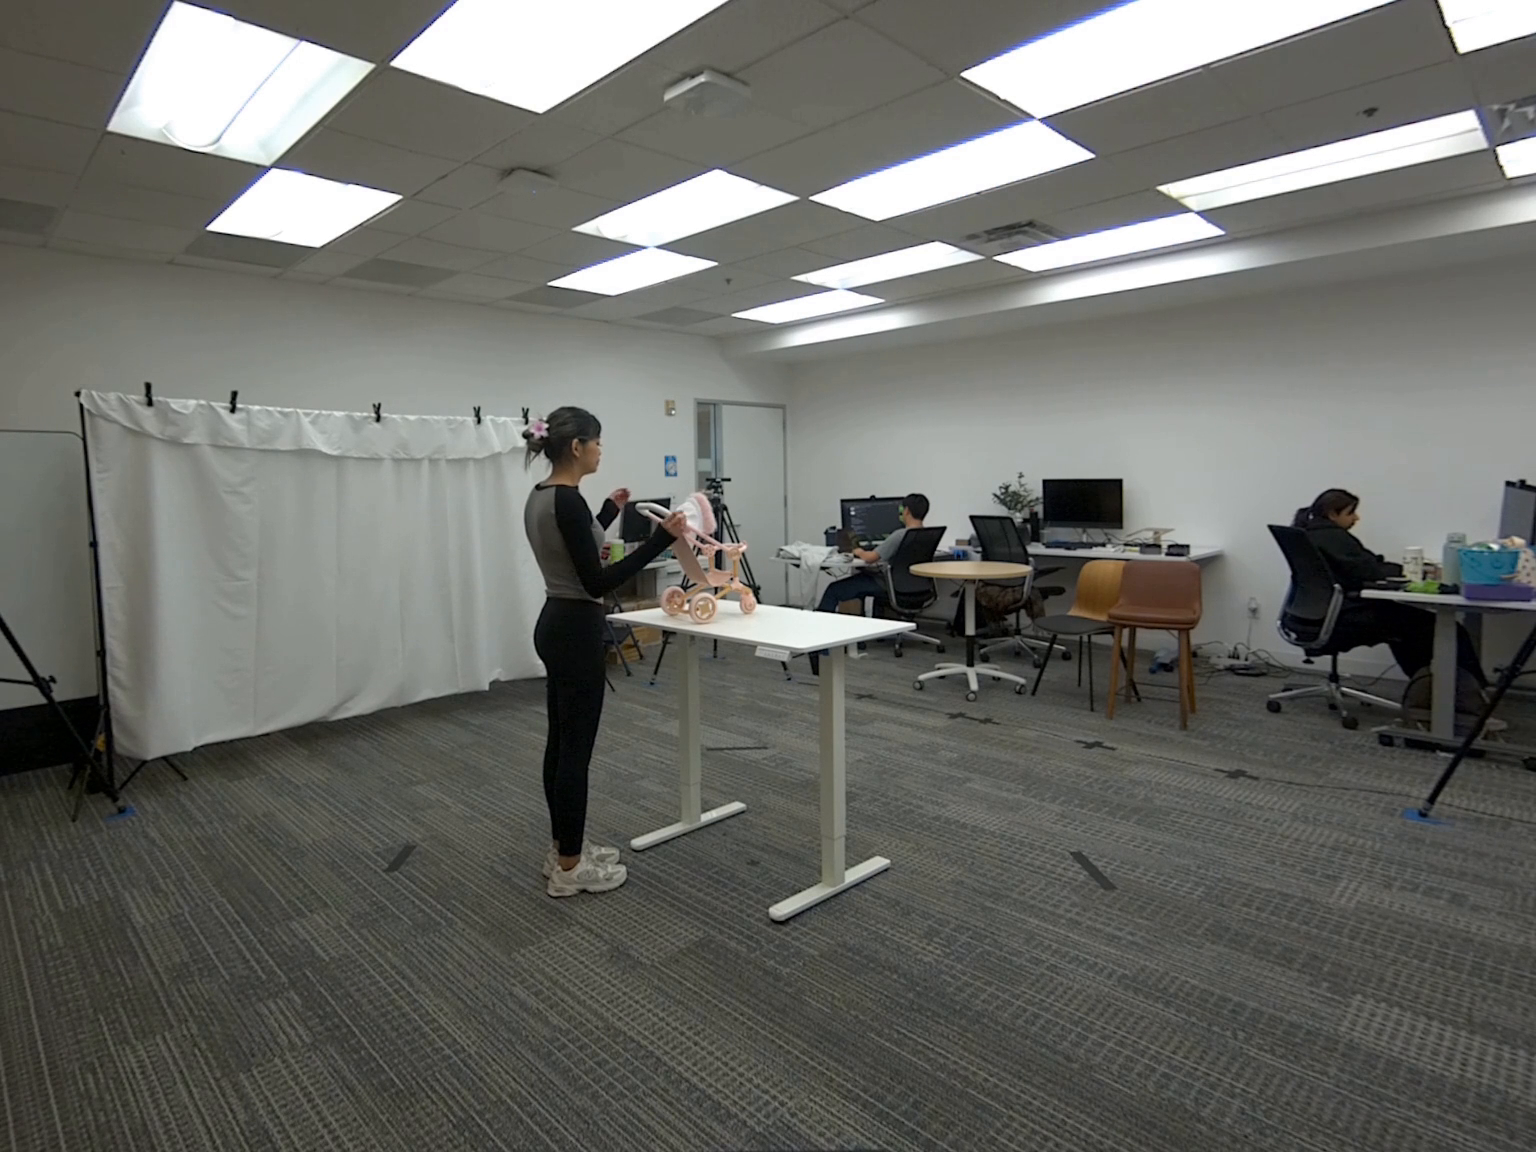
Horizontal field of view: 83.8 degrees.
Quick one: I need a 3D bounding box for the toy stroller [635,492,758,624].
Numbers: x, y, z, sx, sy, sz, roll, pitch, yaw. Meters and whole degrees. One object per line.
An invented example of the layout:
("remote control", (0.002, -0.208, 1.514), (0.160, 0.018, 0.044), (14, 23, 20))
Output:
("toy stroller", (-0.243, -0.067, 3.150), (0.337, 0.529, 0.288), (-20, 11, -23))
